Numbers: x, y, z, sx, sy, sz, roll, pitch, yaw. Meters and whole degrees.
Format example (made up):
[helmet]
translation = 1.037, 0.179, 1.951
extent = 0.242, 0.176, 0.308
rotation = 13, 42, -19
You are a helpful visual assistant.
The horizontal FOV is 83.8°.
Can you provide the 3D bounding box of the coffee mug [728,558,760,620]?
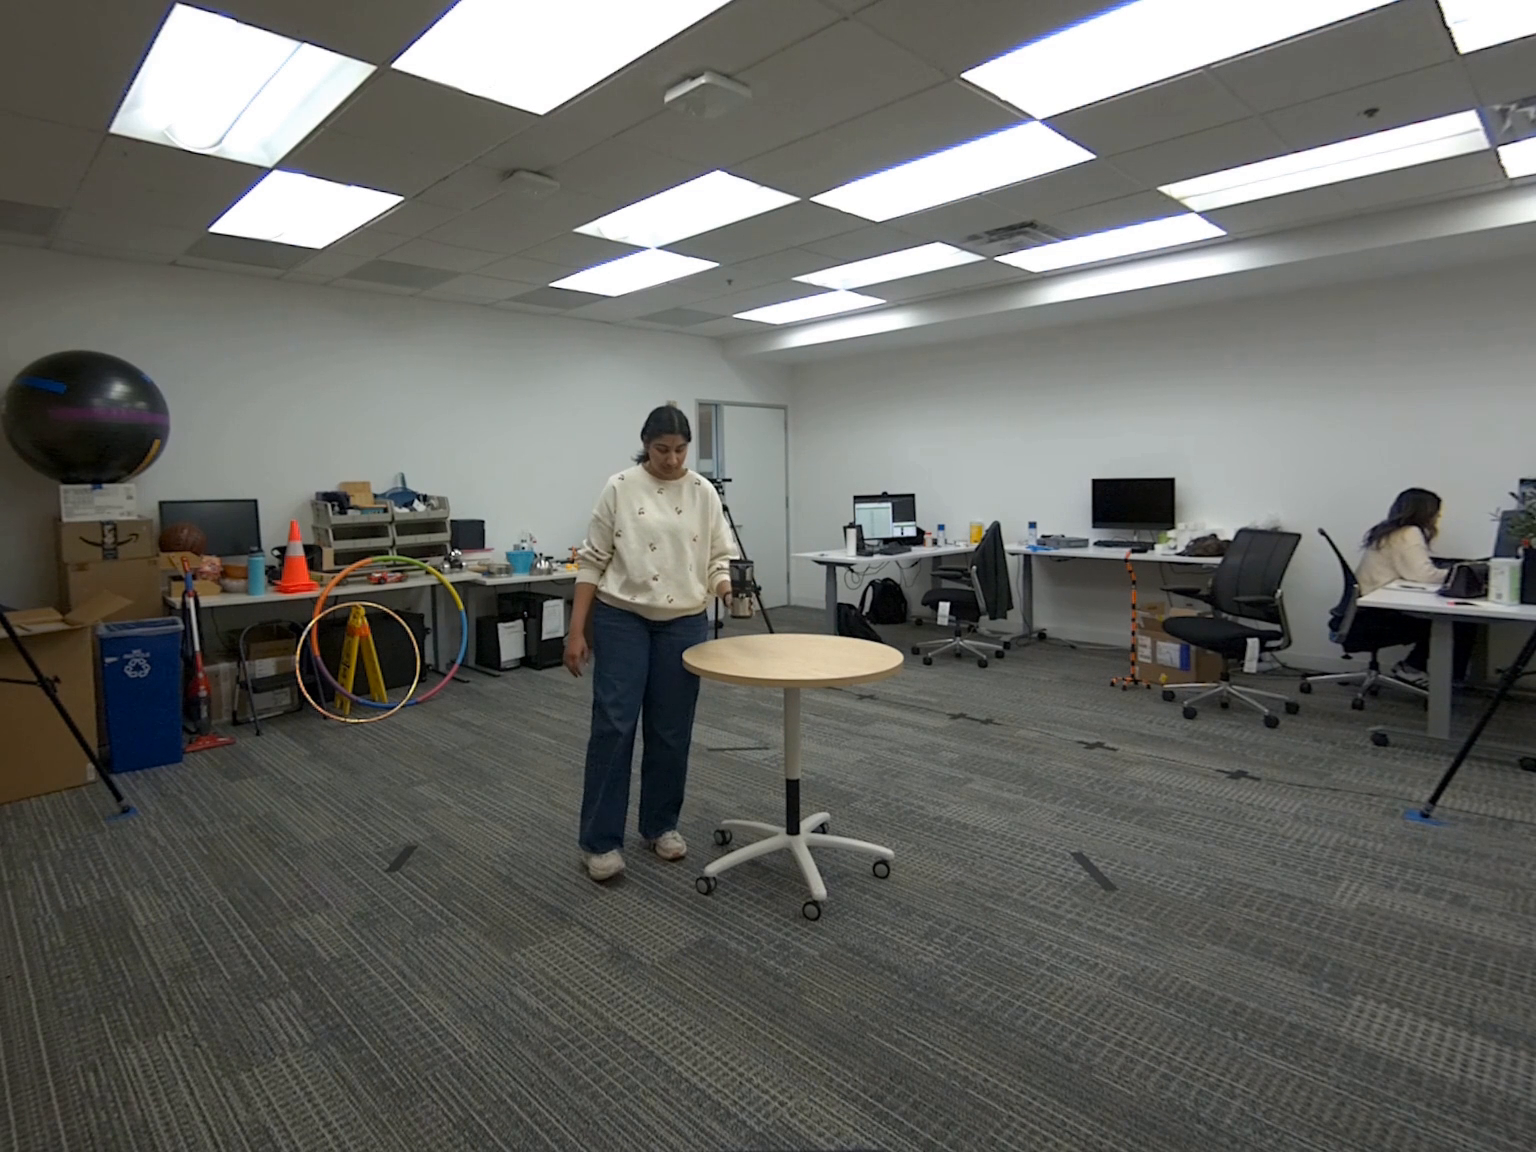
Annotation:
[coffee mug]
translation = -0.101, 0.045, 2.932
extent = 0.090, 0.203, 0.119
rotation = 0, -3, 24
